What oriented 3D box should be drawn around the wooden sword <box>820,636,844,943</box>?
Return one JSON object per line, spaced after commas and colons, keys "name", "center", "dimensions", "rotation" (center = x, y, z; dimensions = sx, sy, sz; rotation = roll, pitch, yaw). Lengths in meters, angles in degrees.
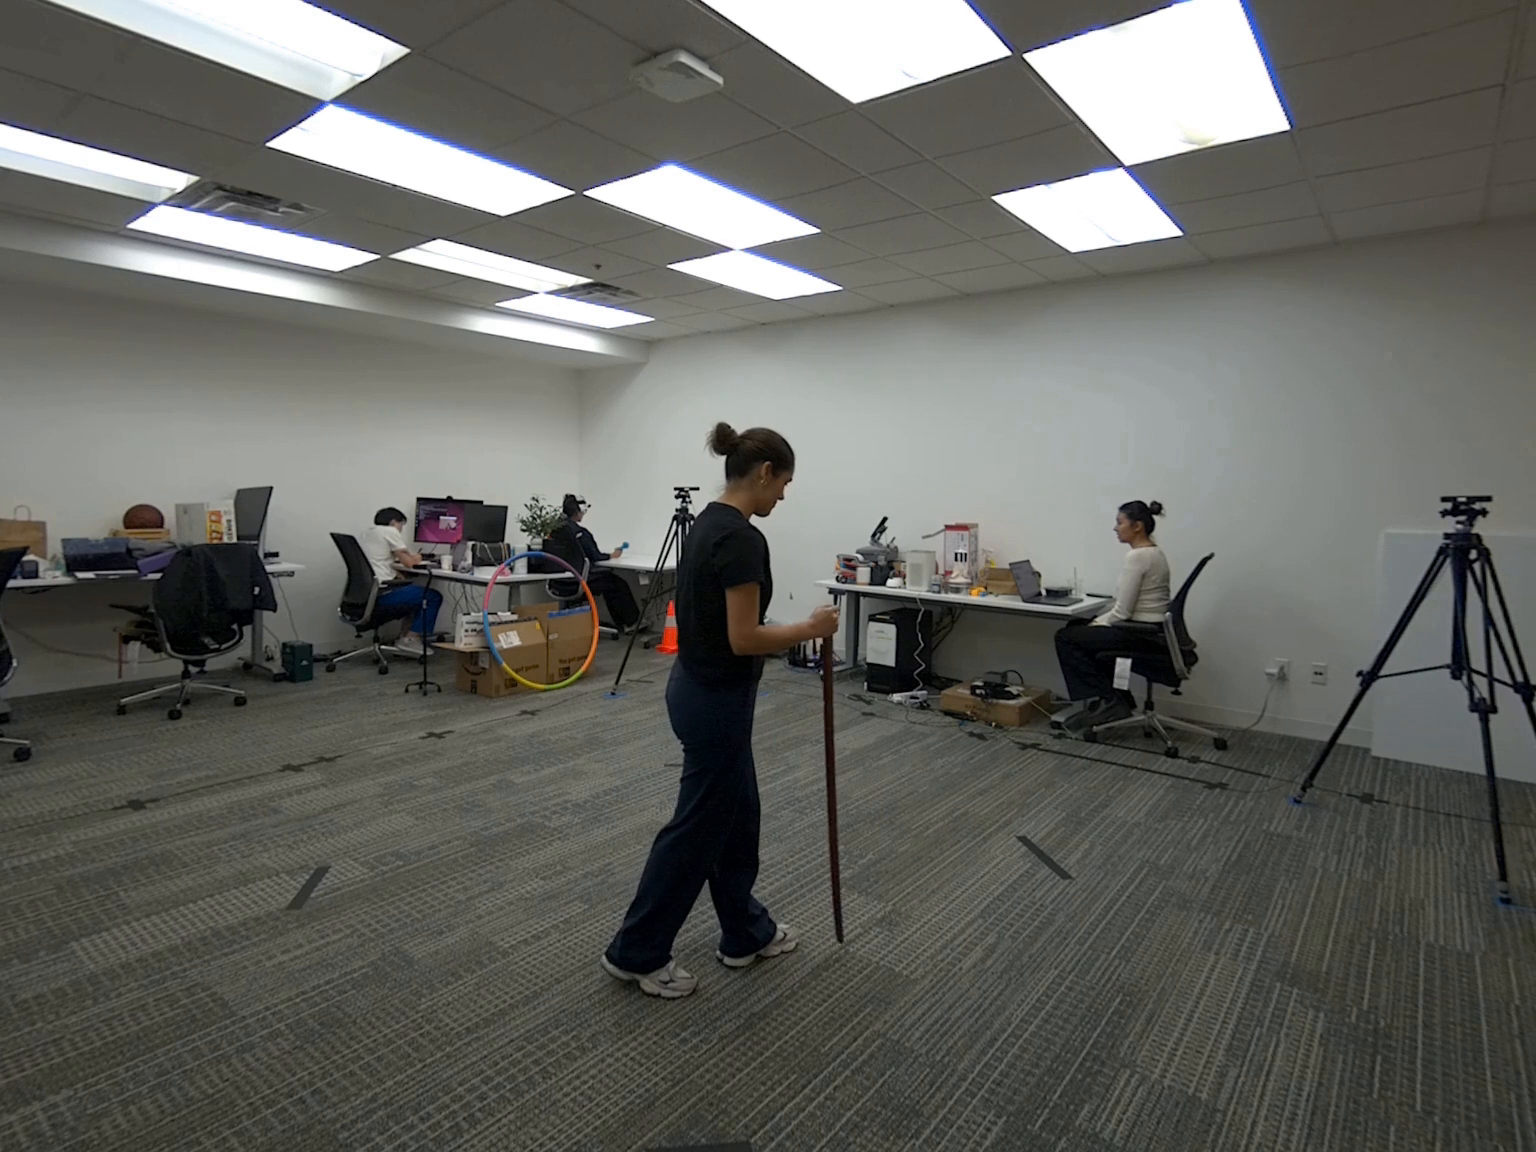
{"name": "wooden sword", "center": [0.181, 0.607, 2.435], "dimensions": [0.052, 1.016, 0.024], "rotation": [0, 9, 23]}
